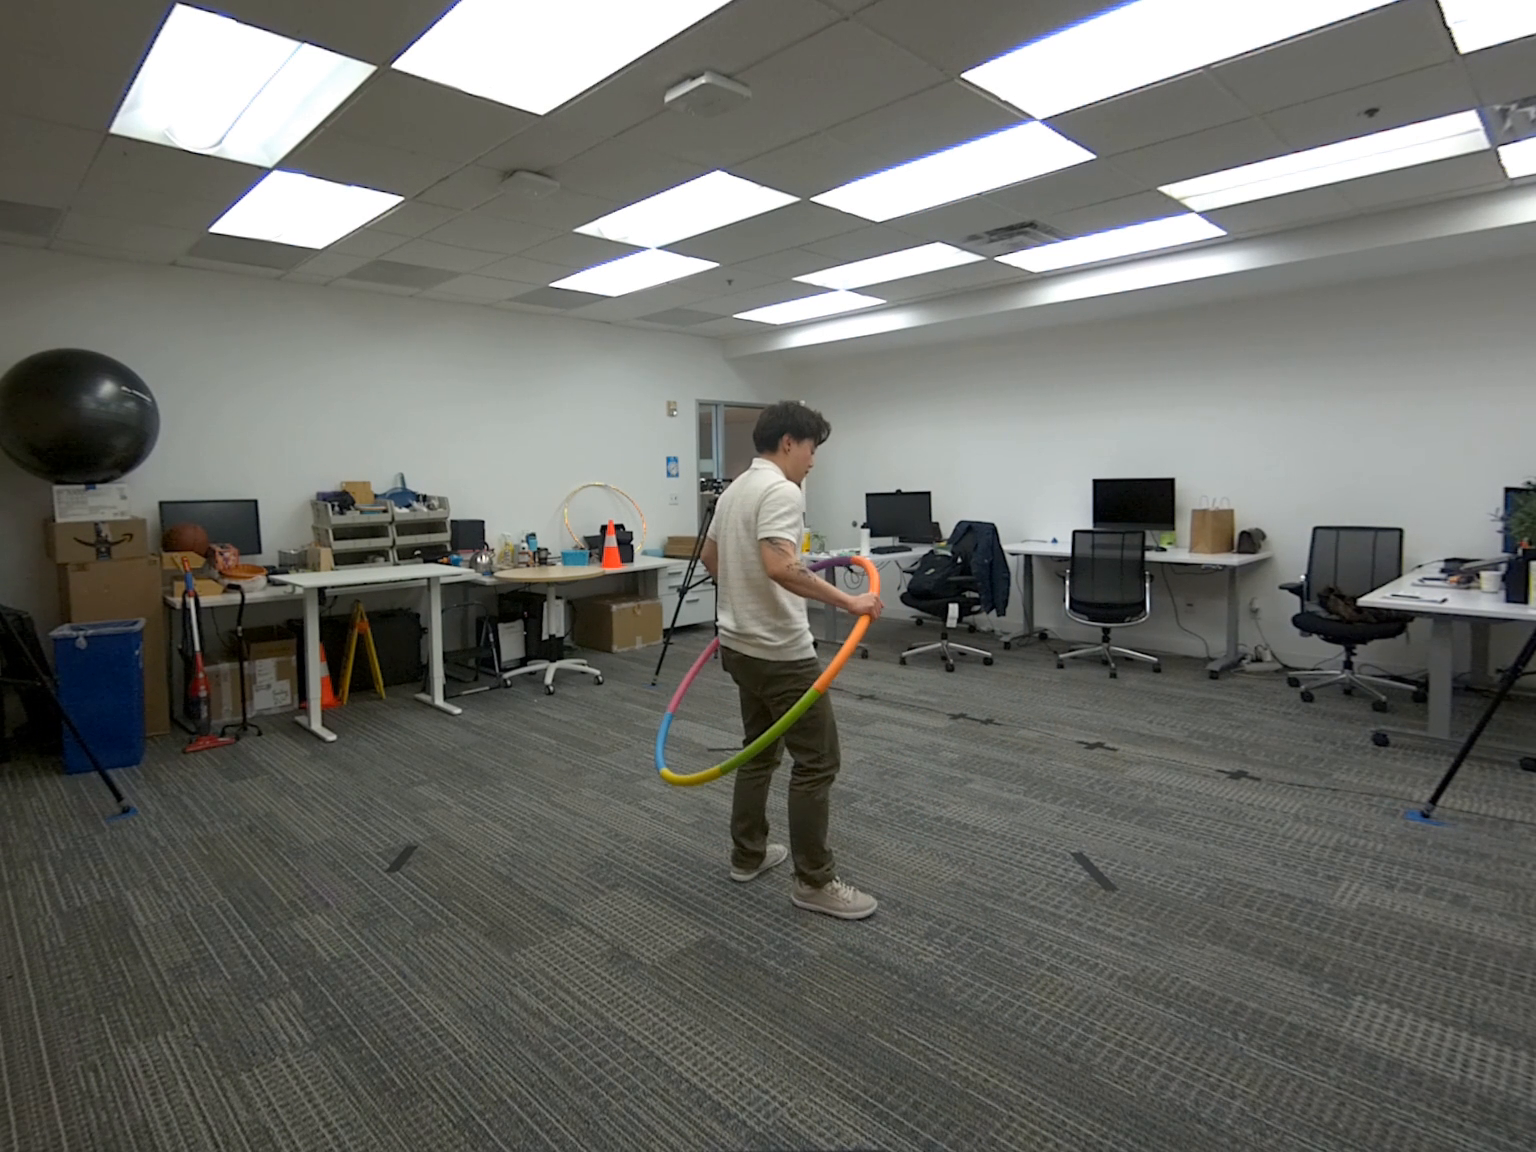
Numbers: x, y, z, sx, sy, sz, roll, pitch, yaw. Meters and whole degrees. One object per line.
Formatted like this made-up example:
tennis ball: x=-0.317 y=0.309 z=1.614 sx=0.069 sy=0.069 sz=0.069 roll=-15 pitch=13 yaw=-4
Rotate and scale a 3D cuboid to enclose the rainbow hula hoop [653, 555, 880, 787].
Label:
rainbow hula hoop: x=-0.021 y=0.284 z=2.862 sx=0.980 sy=0.035 sz=0.997 roll=-40 pitch=18 yaw=12
